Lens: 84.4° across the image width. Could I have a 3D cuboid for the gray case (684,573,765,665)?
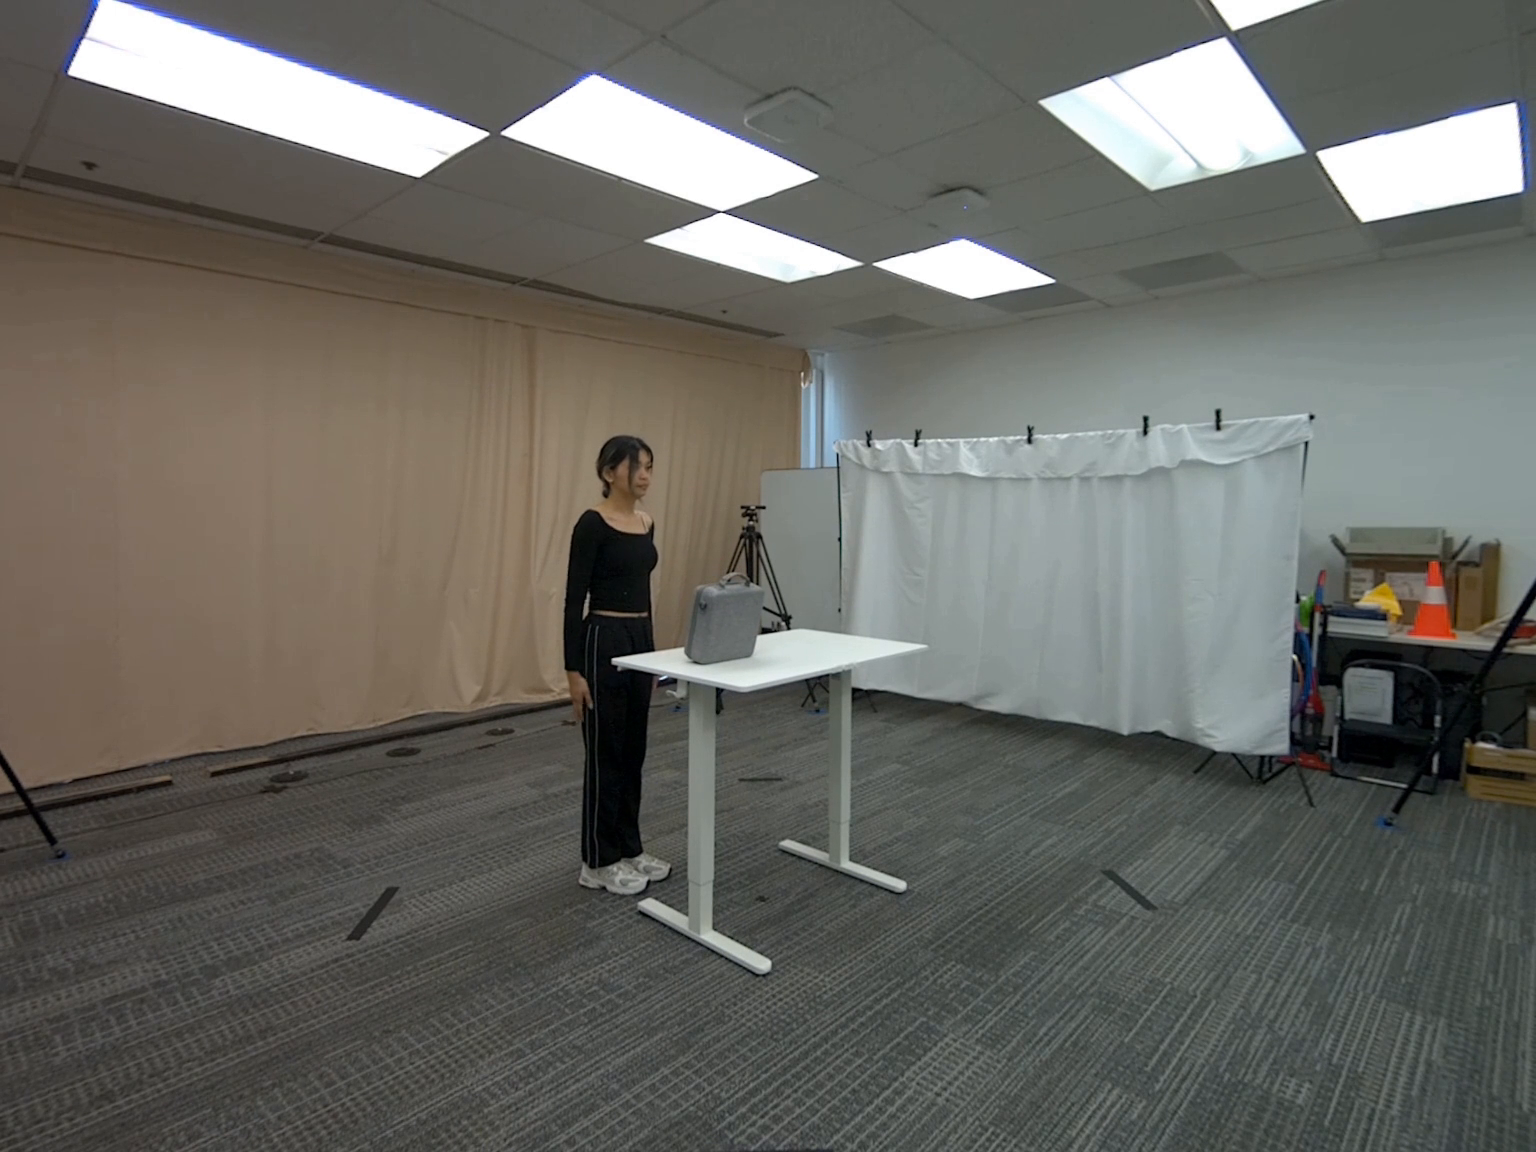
[{"bbox_3d":[-0.134,0.148,2.757,0.249,0.259,0.108,-4,18,-44],"label":"gray case"}]
